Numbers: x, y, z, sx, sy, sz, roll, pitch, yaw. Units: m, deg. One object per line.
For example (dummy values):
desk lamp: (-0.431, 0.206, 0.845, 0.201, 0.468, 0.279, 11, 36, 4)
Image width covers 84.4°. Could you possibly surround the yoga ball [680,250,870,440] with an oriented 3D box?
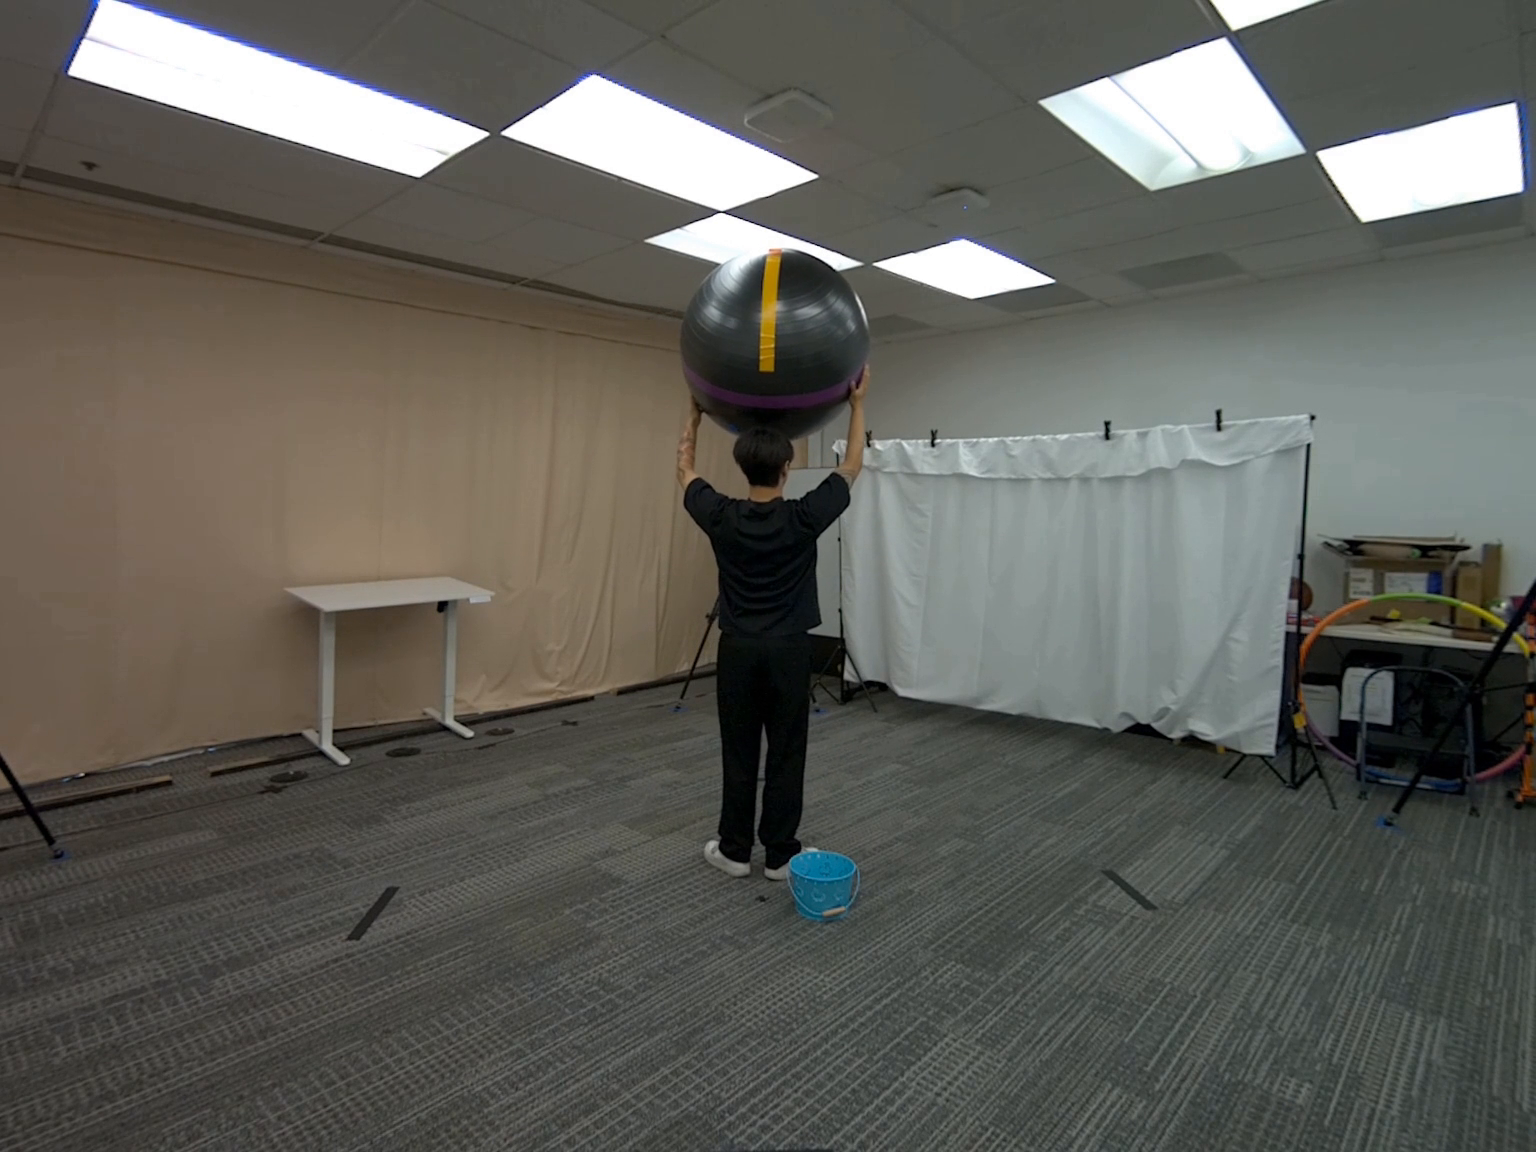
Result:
yoga ball: (0.031, -0.916, 3.375, 0.757, 0.756, 0.760, 0, 4, -2)
